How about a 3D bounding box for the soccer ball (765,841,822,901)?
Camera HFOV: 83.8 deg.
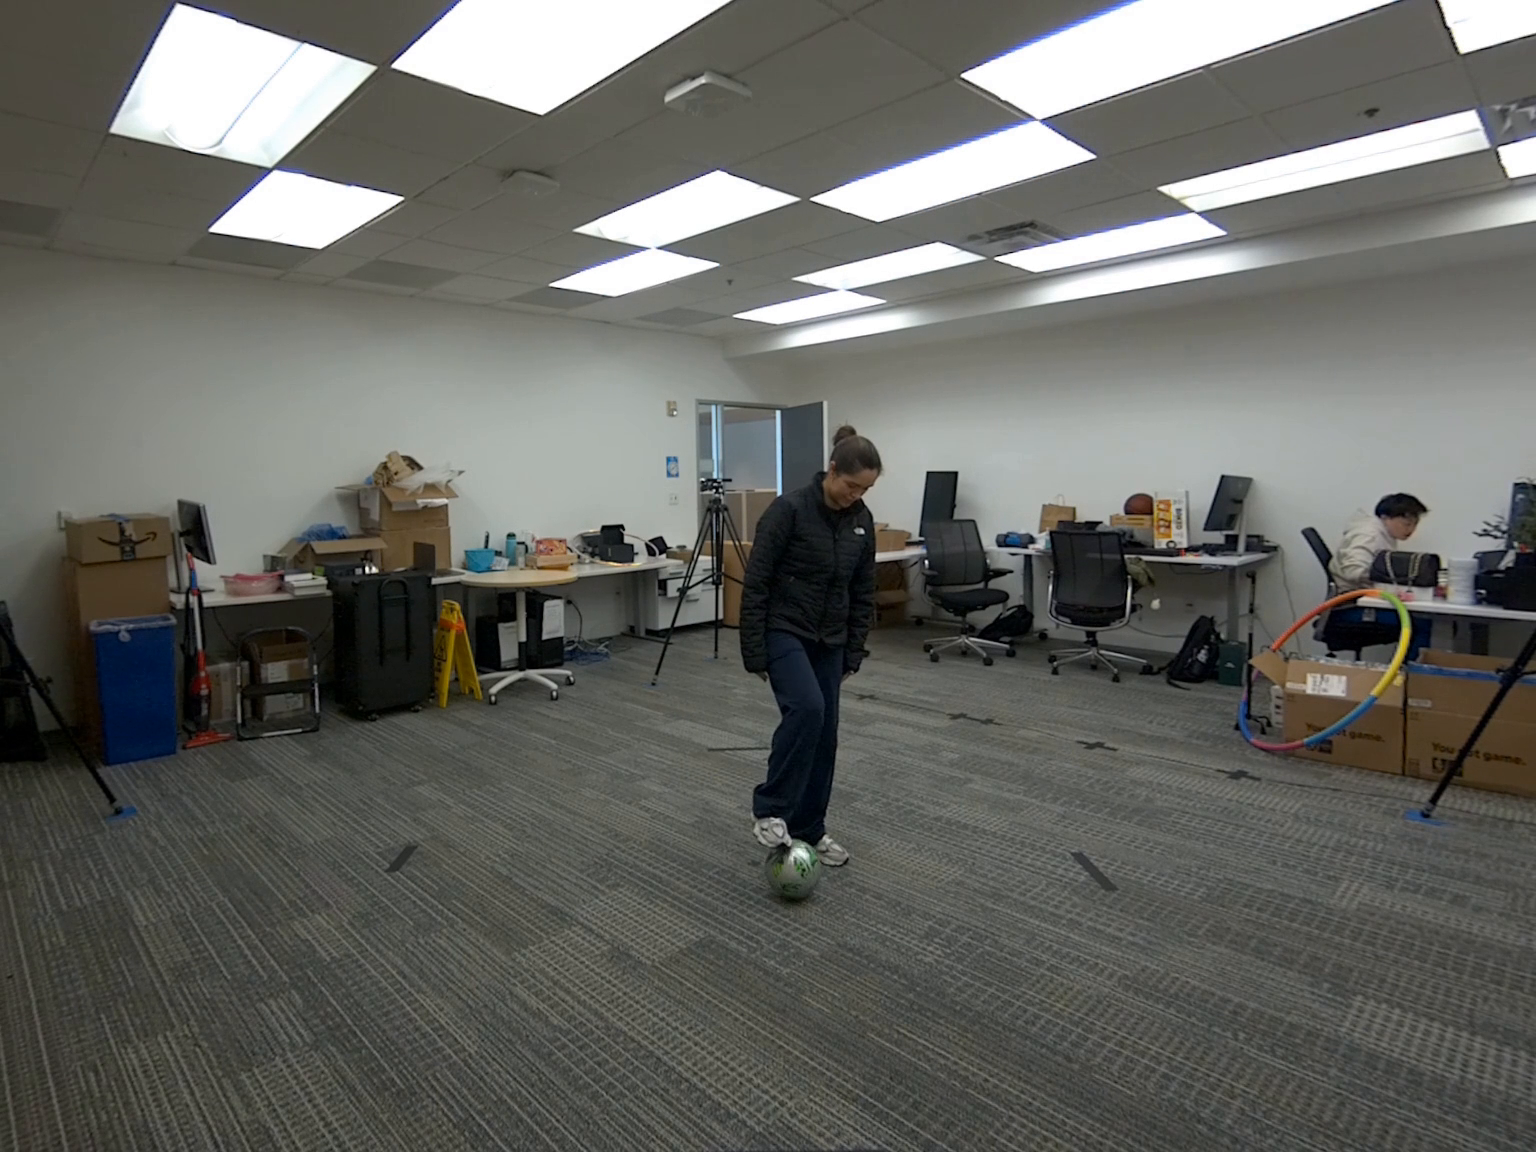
[{"bbox_3d":[0.099,0.981,2.848,0.187,0.187,0.188,-1,5,-2],"label":"soccer ball"}]
